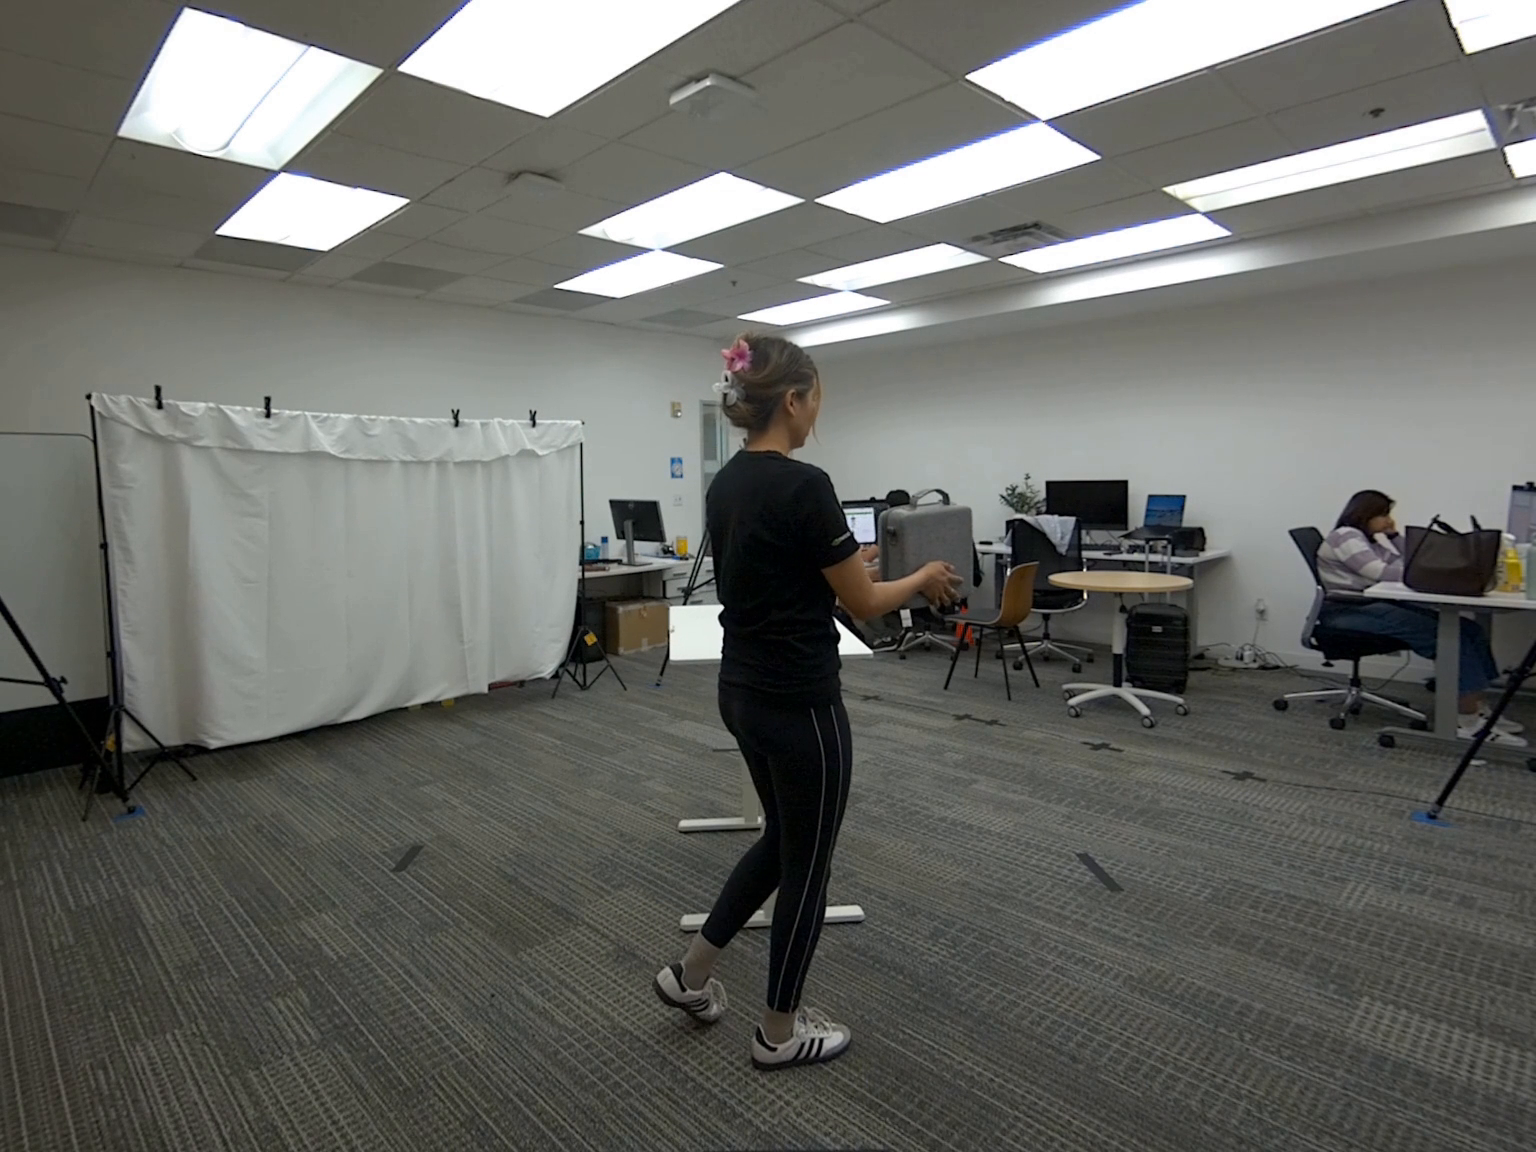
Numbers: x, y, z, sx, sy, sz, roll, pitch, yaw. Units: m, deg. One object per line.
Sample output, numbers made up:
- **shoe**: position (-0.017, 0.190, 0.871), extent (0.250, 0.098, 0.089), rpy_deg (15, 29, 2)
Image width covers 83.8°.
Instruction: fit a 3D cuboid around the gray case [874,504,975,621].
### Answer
- **gray case**: position (0.409, -0.062, 2.183), extent (0.251, 0.259, 0.107), rpy_deg (-8, 8, -29)
